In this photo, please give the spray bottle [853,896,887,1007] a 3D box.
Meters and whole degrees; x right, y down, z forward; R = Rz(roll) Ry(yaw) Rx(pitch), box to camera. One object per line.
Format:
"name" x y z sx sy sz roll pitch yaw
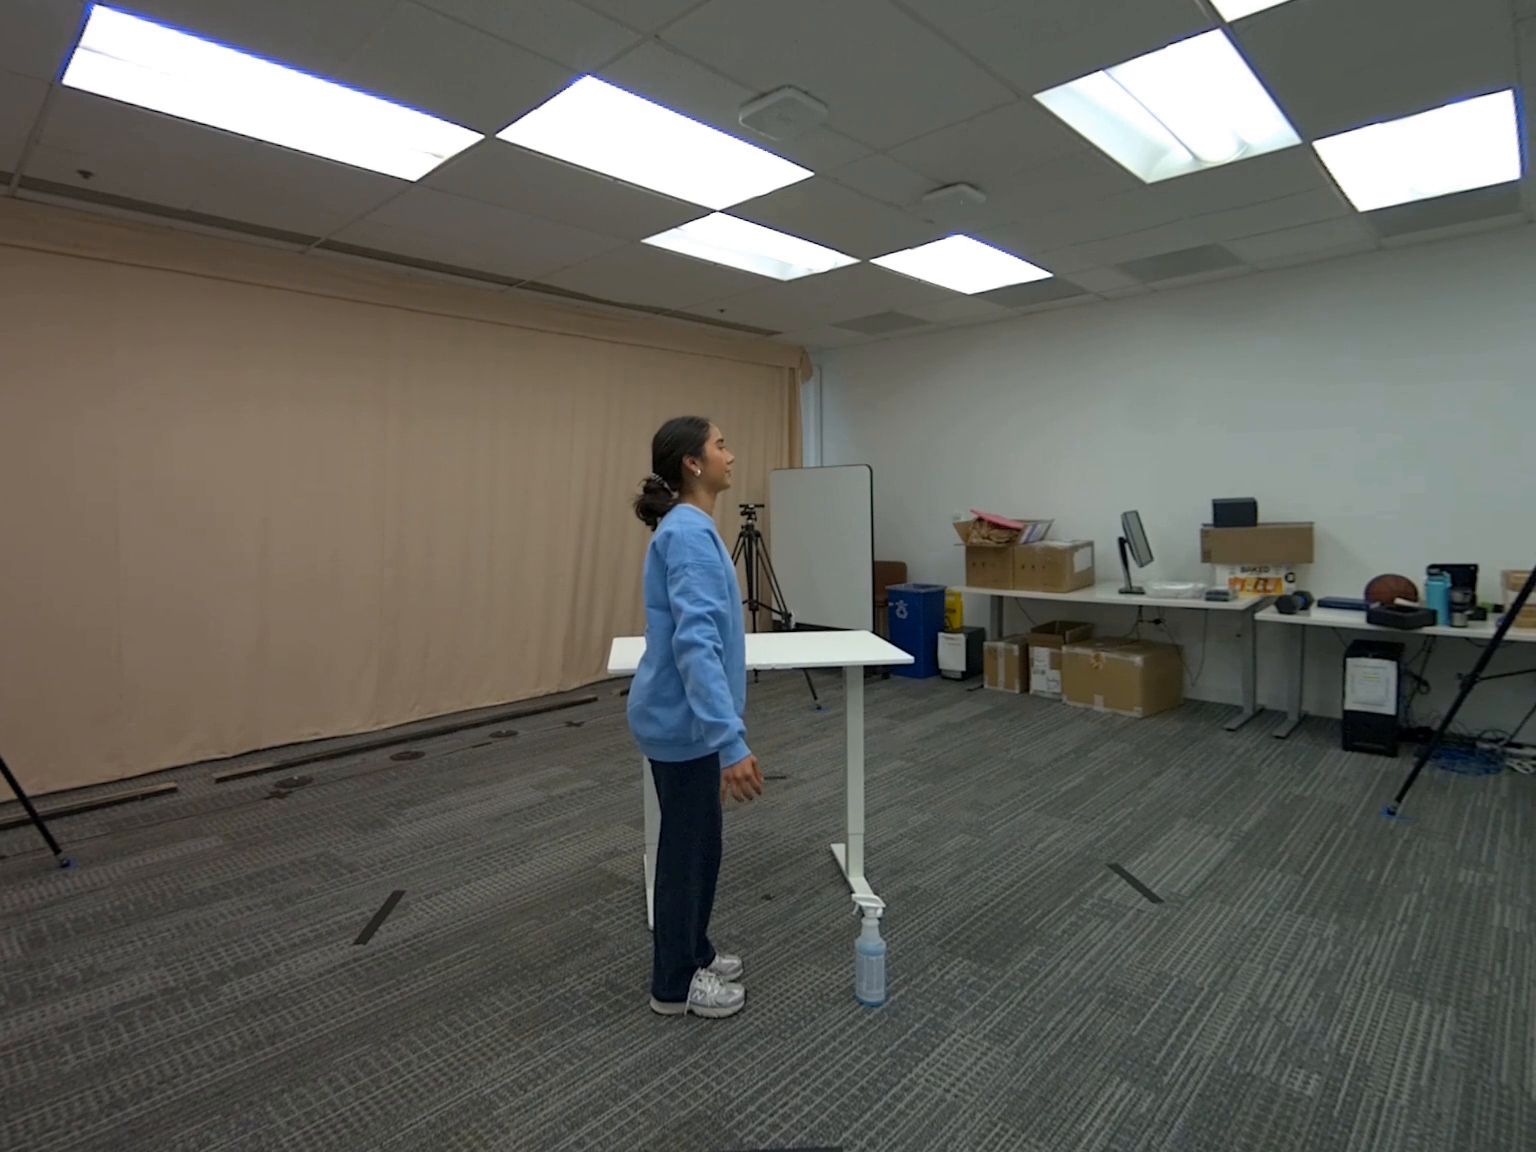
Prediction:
"spray bottle" 0.292 1.050 2.351 0.092 0.297 0.085 1 2 26
